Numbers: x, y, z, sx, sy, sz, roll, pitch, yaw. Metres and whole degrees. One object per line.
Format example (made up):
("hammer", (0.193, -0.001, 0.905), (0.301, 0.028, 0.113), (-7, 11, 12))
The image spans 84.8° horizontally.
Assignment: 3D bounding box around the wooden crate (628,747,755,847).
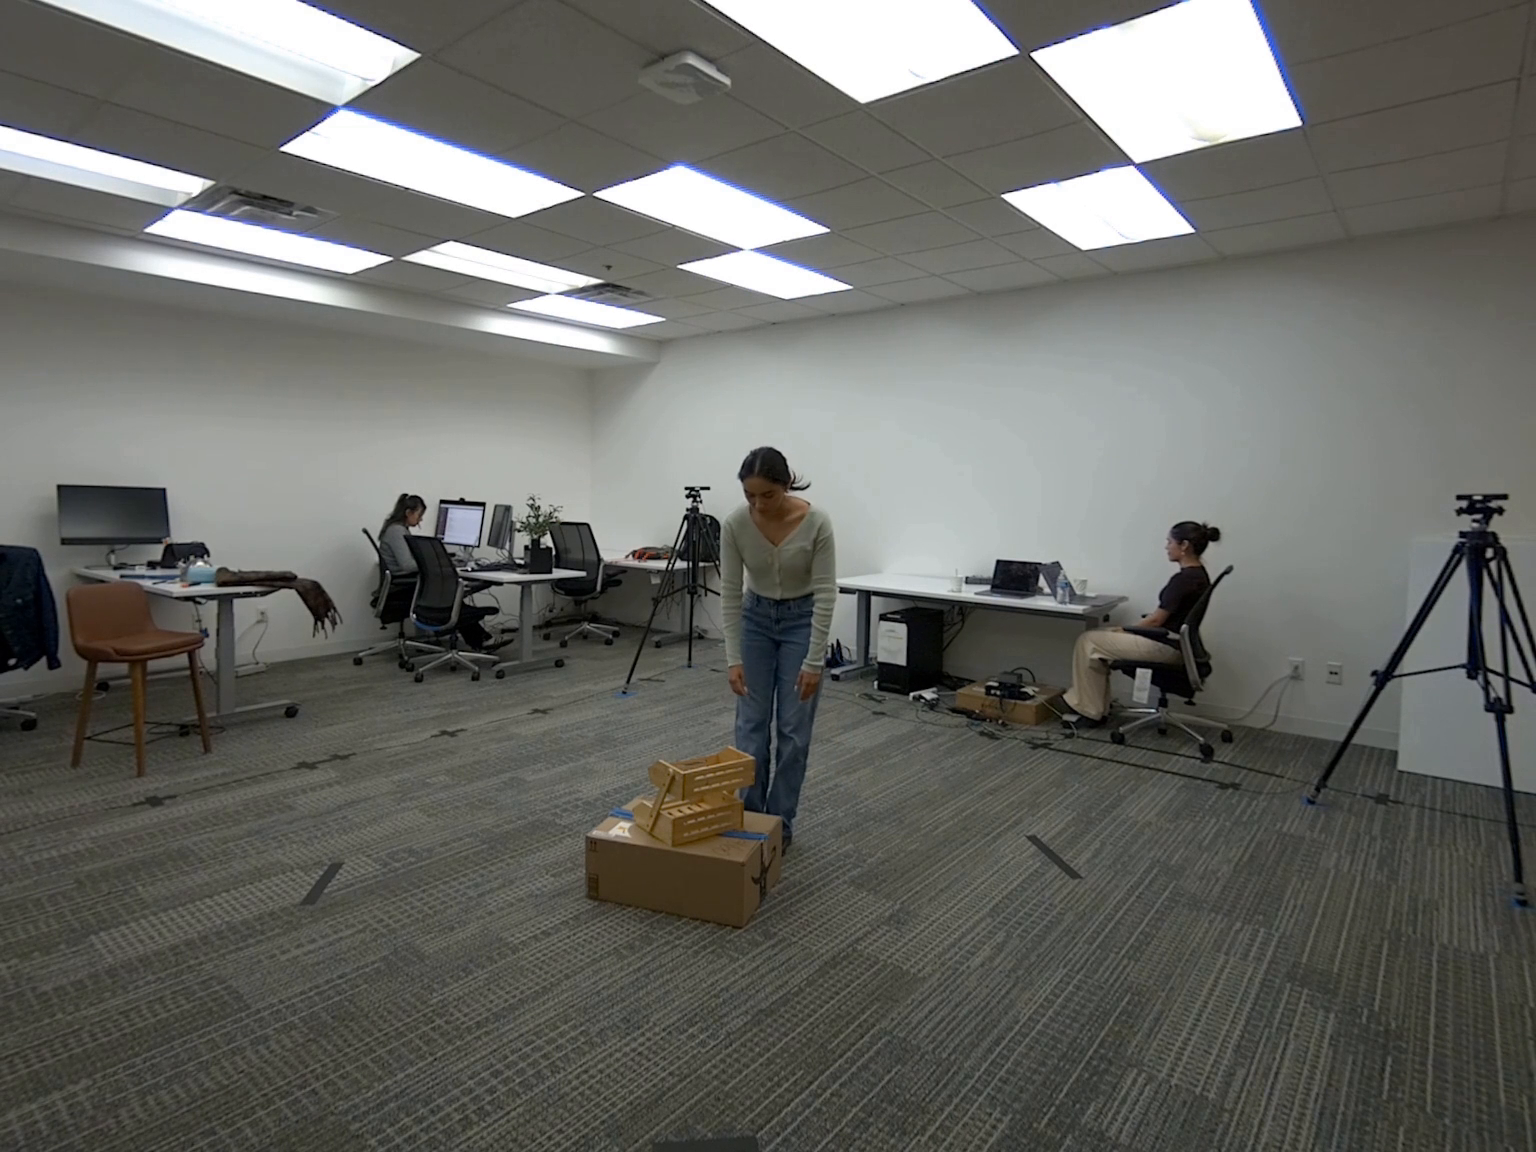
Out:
("wooden crate", (-0.270, 0.734, 2.938), (0.315, 0.272, 0.312), (-2, 6, -39))
